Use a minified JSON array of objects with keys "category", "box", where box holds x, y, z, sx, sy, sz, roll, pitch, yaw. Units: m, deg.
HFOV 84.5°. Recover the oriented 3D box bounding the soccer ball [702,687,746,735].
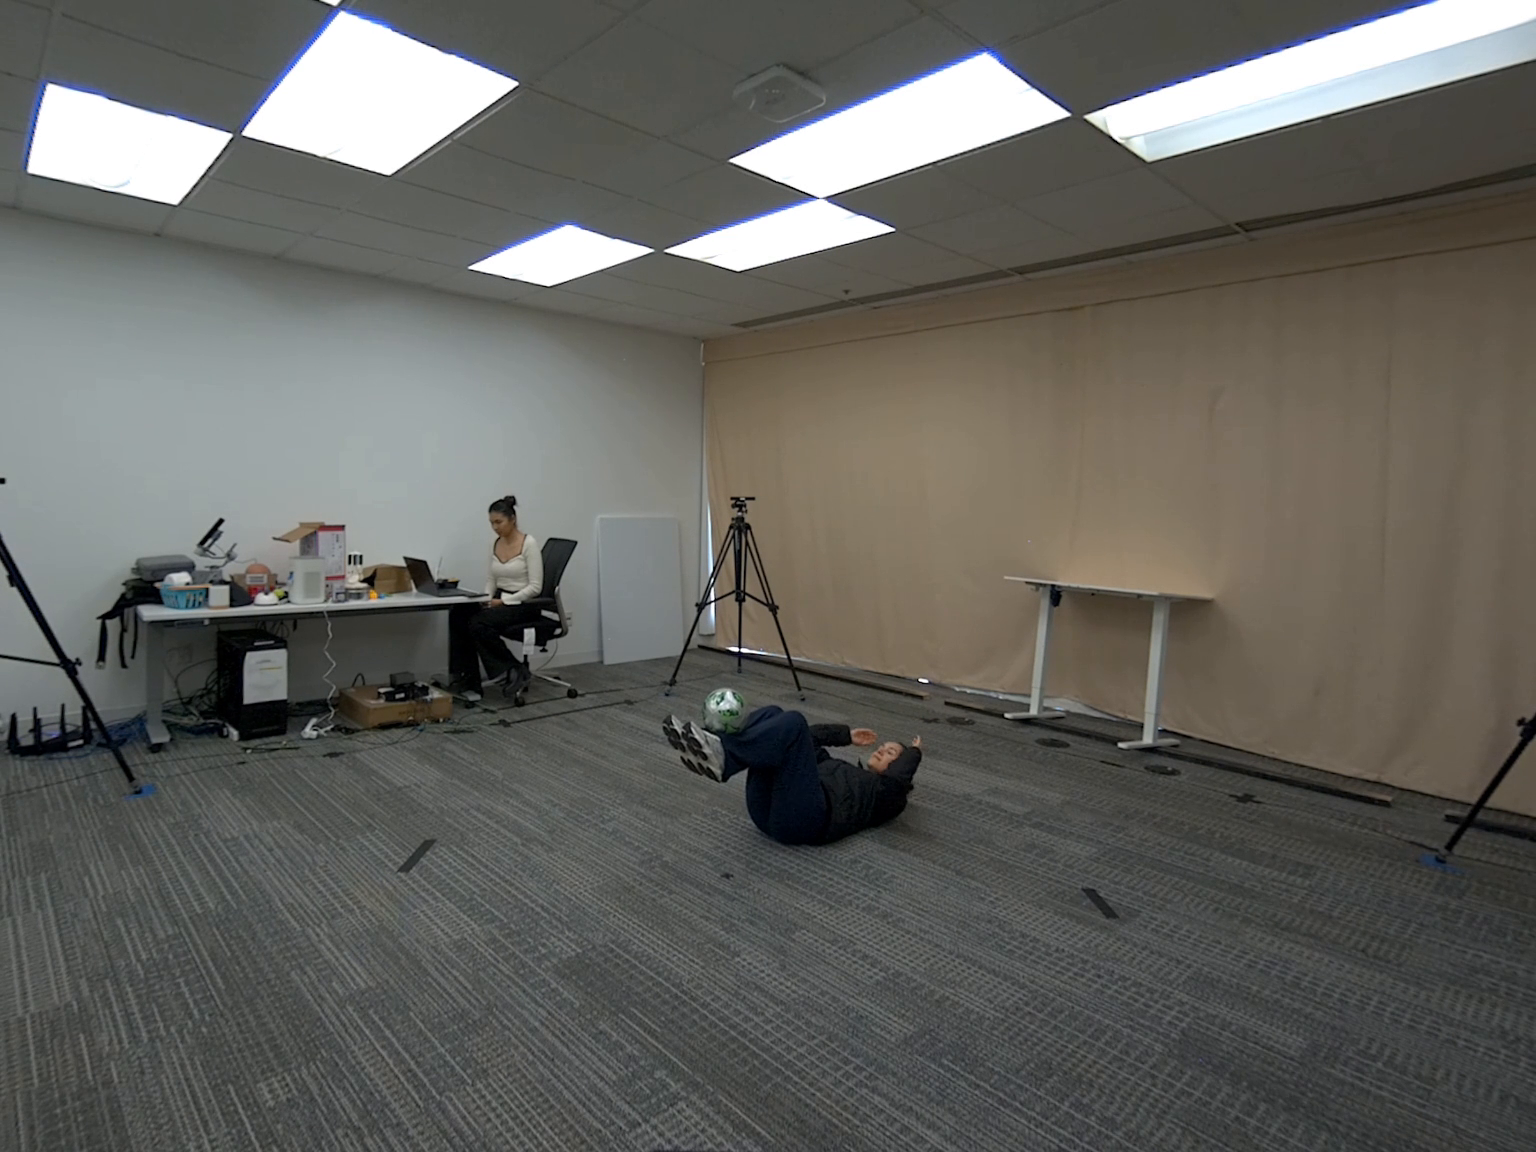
[{"category":"soccer ball","box":[-0.173,0.527,3.254,0.187,0.186,0.188,0,7,-1]}]
